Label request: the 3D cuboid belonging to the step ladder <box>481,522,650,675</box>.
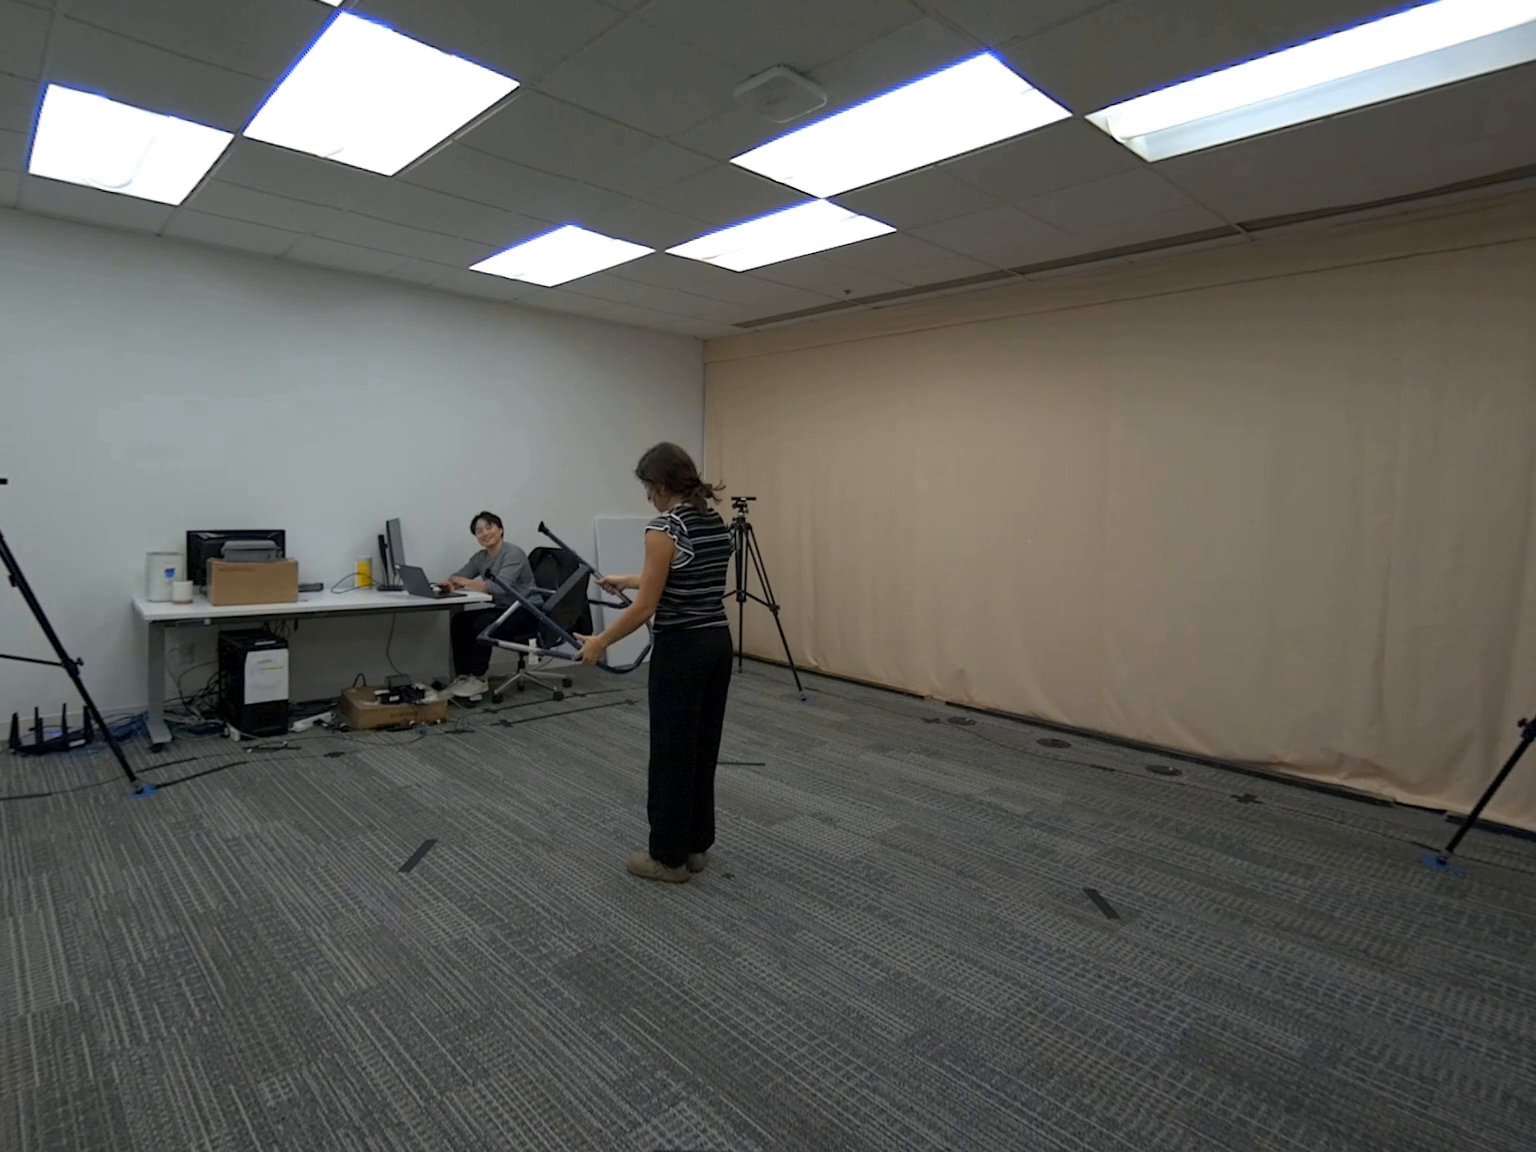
[{"bbox_3d":[-0.733,0.143,3.245,0.611,0.345,0.432,23,32,7],"label":"step ladder"}]
